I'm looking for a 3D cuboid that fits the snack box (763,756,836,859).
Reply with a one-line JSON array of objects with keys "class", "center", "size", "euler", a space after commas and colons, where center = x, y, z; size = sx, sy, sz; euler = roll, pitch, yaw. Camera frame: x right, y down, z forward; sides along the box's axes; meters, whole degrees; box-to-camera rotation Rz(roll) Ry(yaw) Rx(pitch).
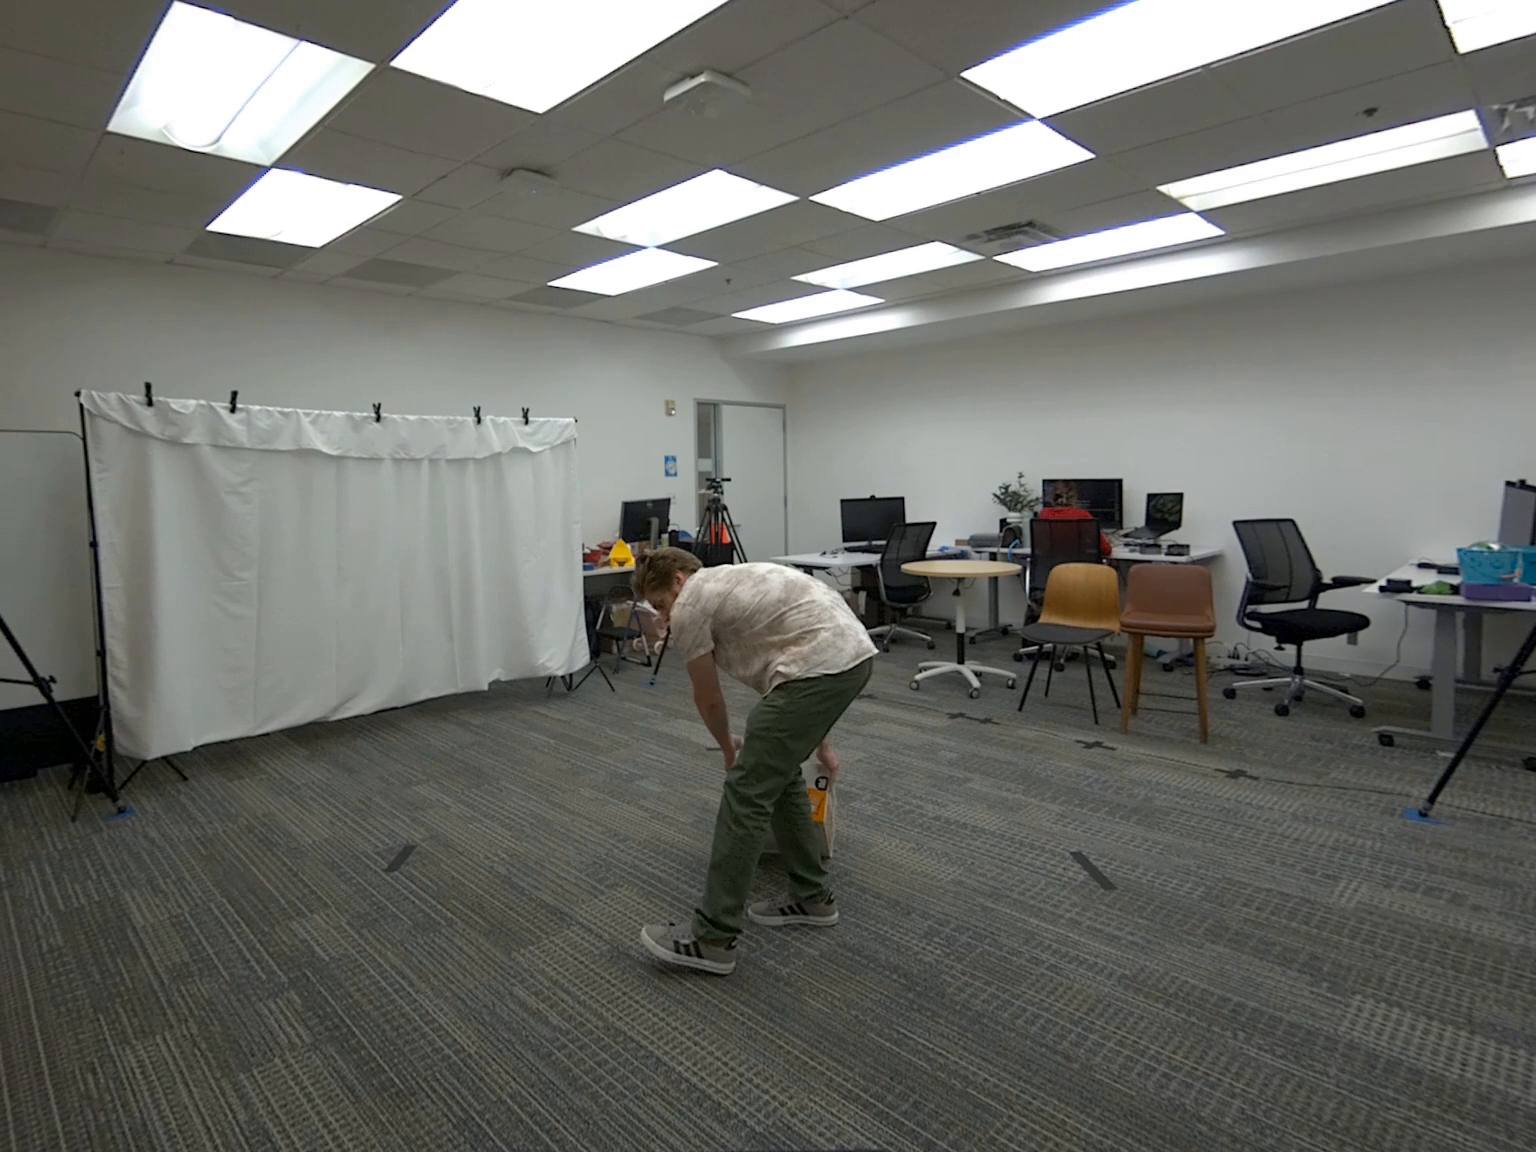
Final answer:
[{"class": "snack box", "center": [0.062, 0.836, 3.078], "size": [0.345, 0.209, 0.392], "euler": [3, -34, 13]}]
